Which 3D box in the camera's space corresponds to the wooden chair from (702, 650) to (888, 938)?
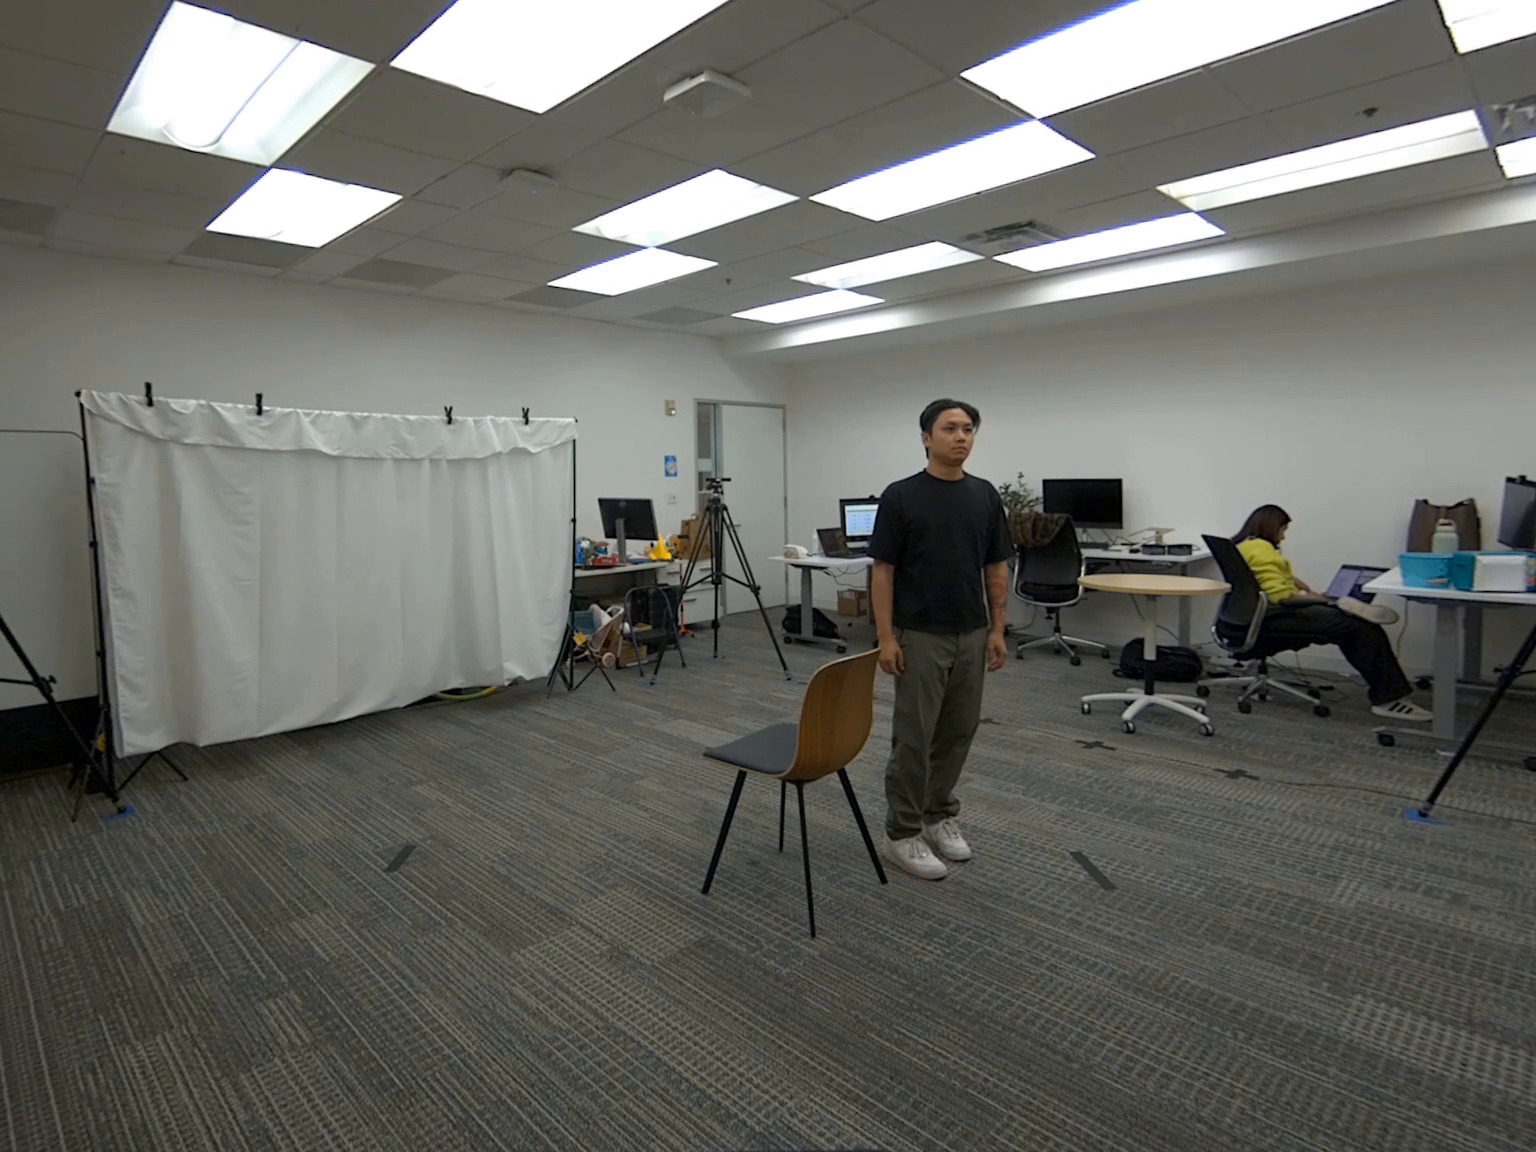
[{"bbox_3d":[0.080,0.639,2.874,0.540,0.872,0.466,8,9,38],"label":"wooden chair"}]
